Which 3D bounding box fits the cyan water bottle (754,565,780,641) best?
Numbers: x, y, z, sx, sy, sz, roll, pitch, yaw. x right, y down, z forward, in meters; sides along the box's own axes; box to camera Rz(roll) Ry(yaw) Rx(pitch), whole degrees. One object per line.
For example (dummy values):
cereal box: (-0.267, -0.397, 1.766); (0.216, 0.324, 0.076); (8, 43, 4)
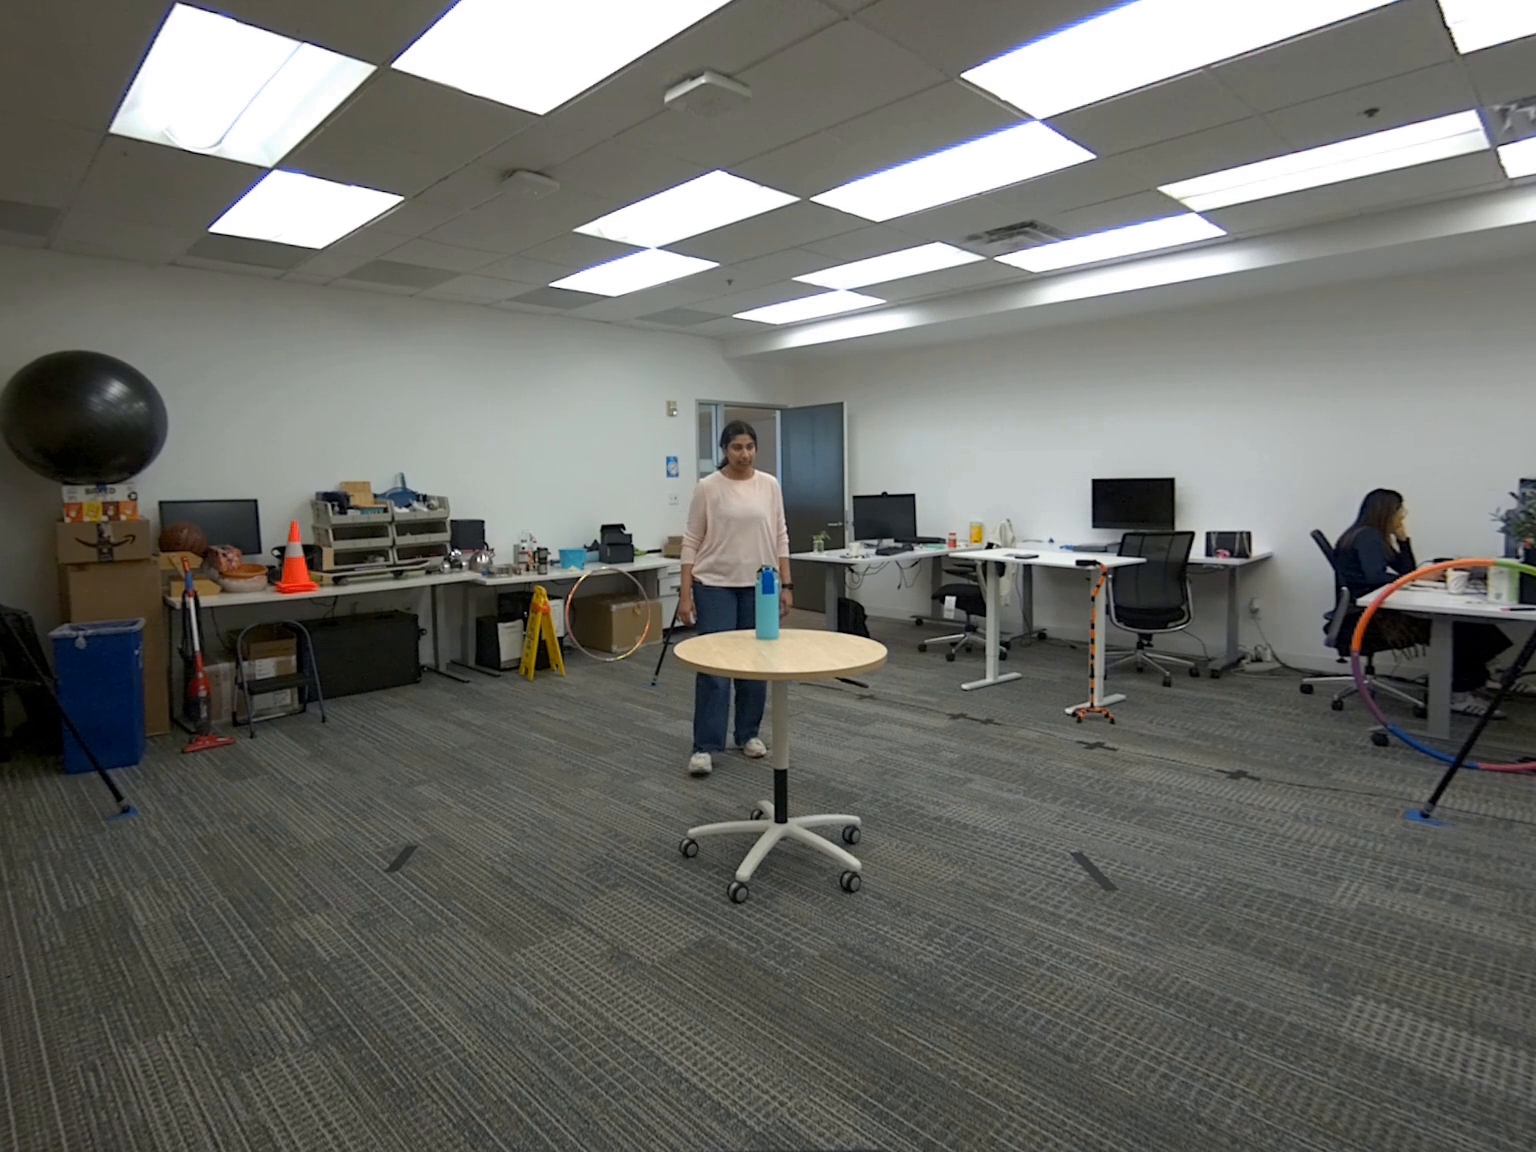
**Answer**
cyan water bottle: (-0.006, 0.101, 3.283); (0.092, 0.282, 0.093); (0, 5, -2)
